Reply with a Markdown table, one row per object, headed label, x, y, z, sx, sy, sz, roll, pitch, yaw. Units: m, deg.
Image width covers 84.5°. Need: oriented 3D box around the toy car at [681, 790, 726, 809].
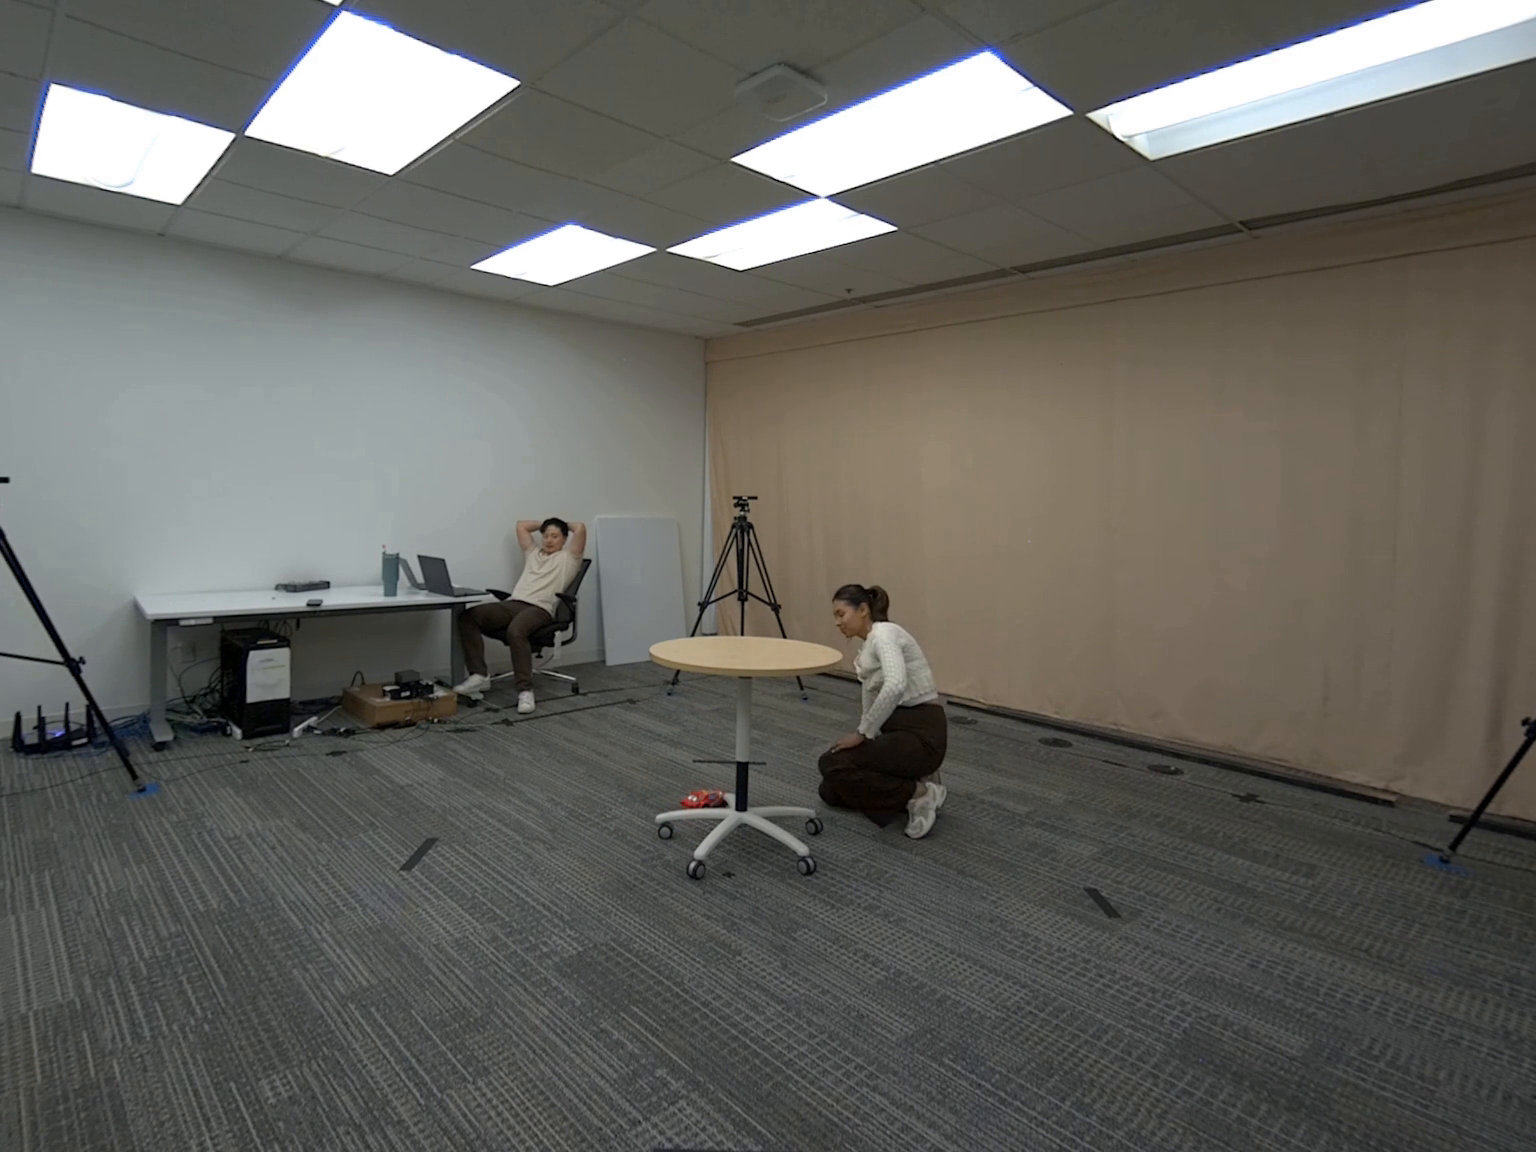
| label | x | y | z | sx | sy | sz | roll | pitch | yaw |
| --- | --- | --- | --- | --- | --- | --- | --- | --- | --- |
| toy car | -0.291 | 1.005 | 3.778 | 0.133 | 0.083 | 0.247 | 5 | -5 | 39 |
